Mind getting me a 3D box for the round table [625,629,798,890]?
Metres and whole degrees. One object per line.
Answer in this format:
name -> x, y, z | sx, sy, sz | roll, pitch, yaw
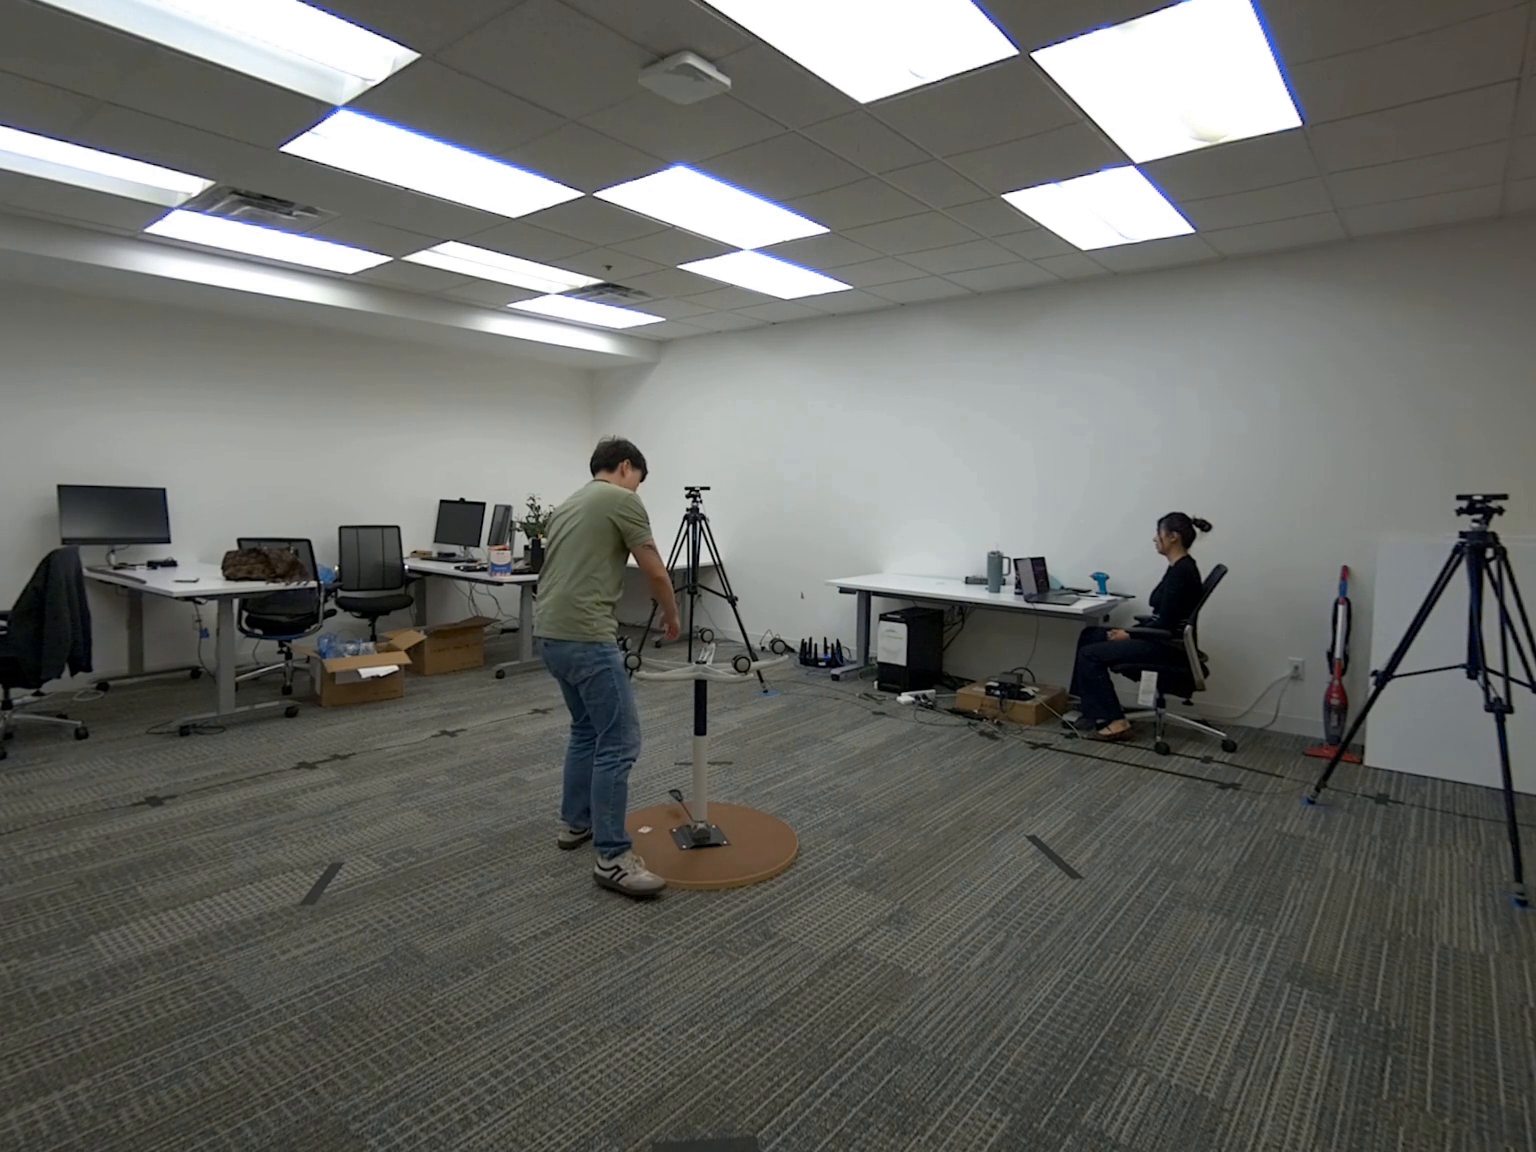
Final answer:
round table -> -0.269, 0.652, 3.303 | 0.763, 0.791, 0.768 | 0, 4, -2
